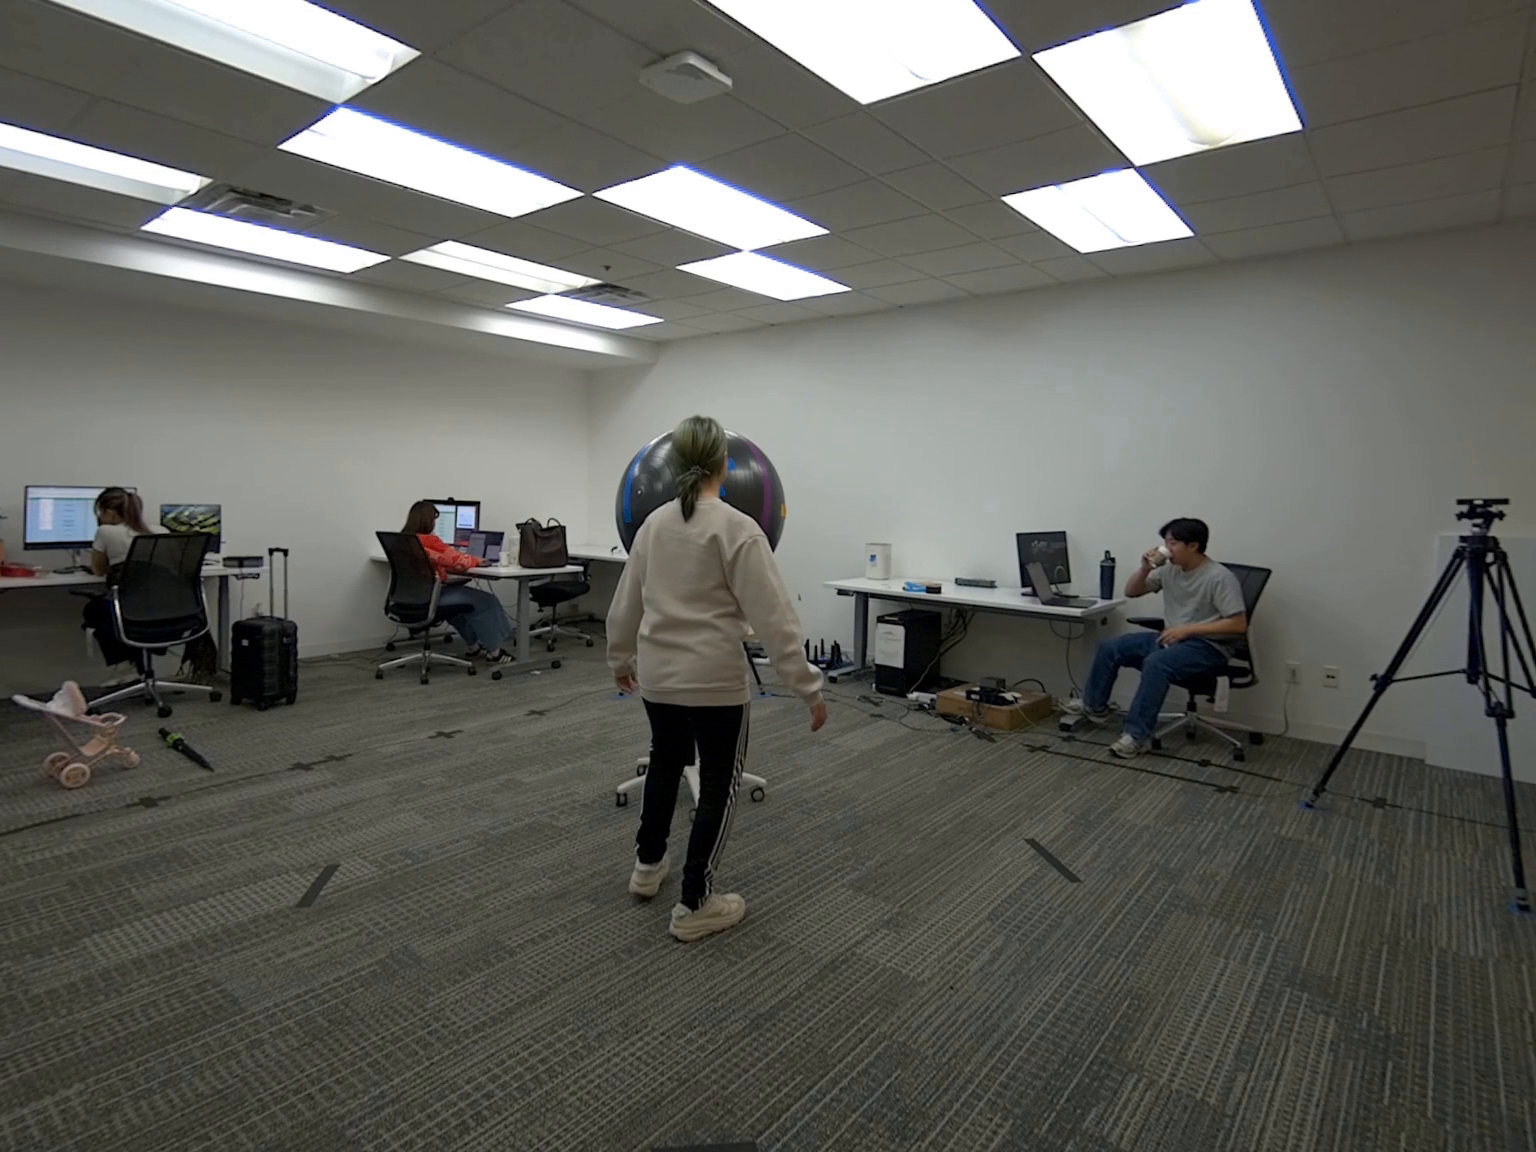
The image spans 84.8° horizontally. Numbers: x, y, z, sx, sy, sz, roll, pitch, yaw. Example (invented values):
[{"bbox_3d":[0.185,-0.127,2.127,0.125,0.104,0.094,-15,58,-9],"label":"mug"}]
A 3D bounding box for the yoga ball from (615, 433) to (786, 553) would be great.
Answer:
[{"bbox_3d":[-0.310,-0.293,3.807,0.757,0.756,0.761,1,4,-2],"label":"yoga ball"}]
